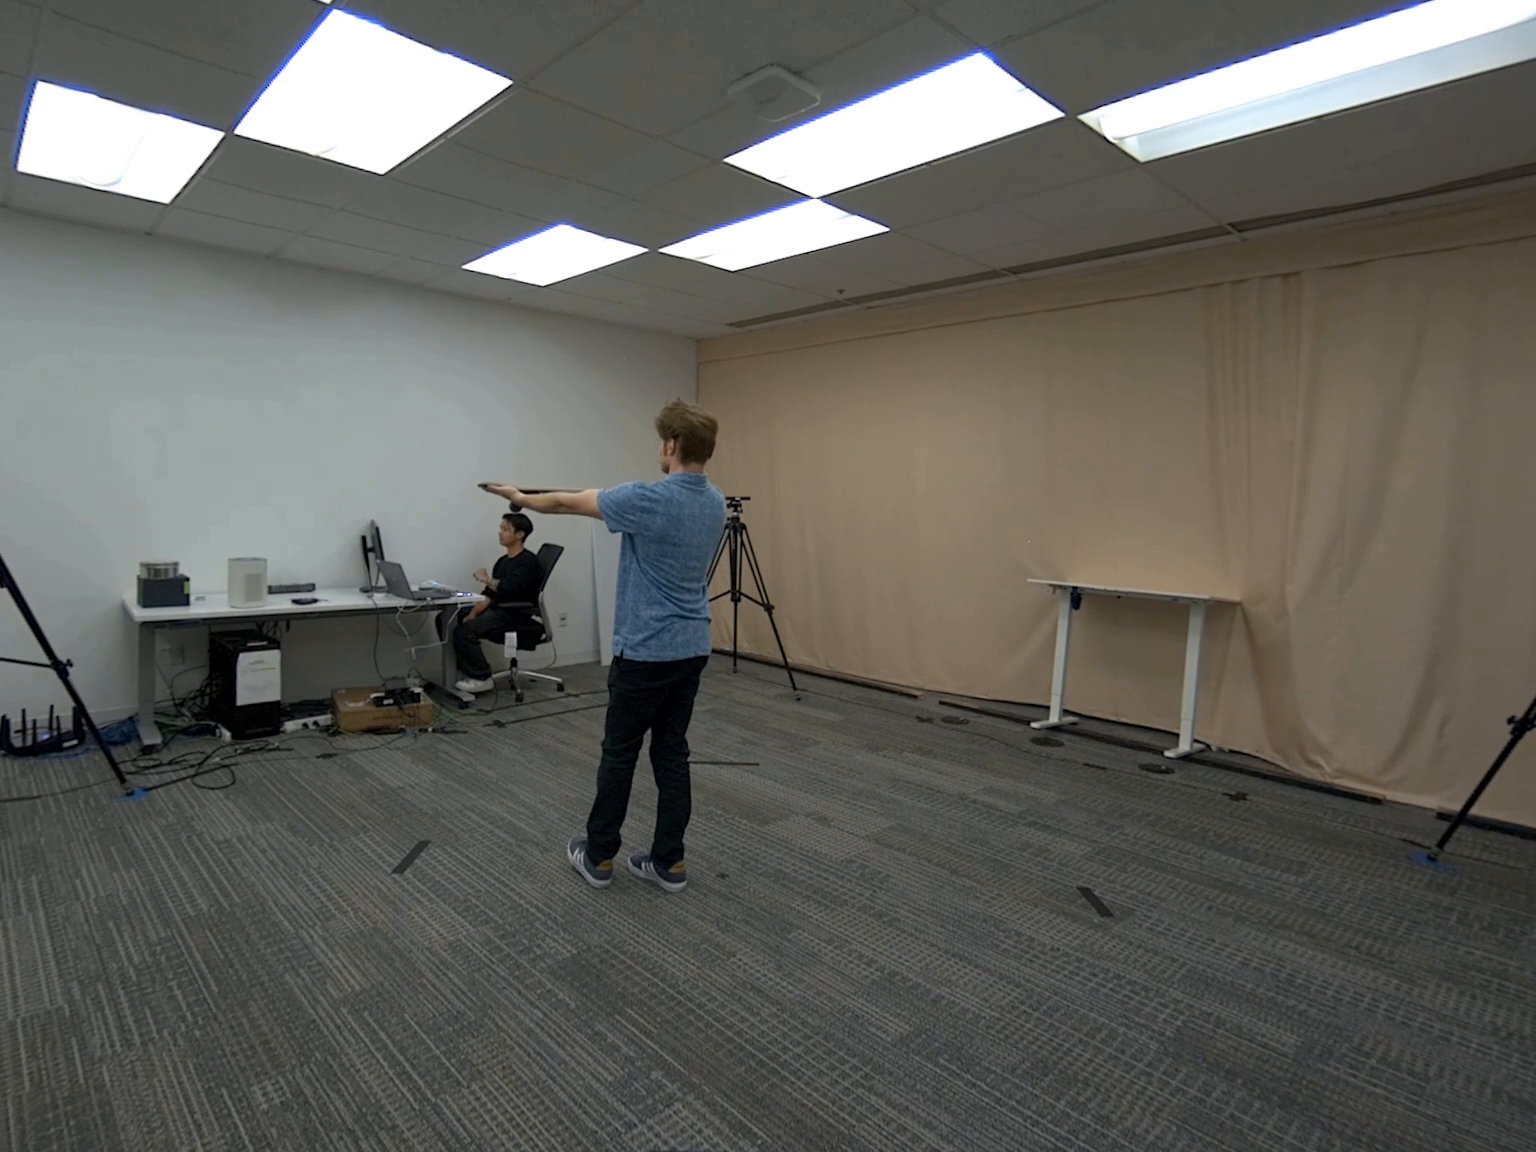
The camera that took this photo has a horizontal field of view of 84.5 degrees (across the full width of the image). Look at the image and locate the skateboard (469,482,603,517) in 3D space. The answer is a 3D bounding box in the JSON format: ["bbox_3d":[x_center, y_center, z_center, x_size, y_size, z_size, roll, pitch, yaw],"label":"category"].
[{"bbox_3d":[-0.791,-0.302,3.401,0.198,0.110,0.767,7,6,42],"label":"skateboard"}]
